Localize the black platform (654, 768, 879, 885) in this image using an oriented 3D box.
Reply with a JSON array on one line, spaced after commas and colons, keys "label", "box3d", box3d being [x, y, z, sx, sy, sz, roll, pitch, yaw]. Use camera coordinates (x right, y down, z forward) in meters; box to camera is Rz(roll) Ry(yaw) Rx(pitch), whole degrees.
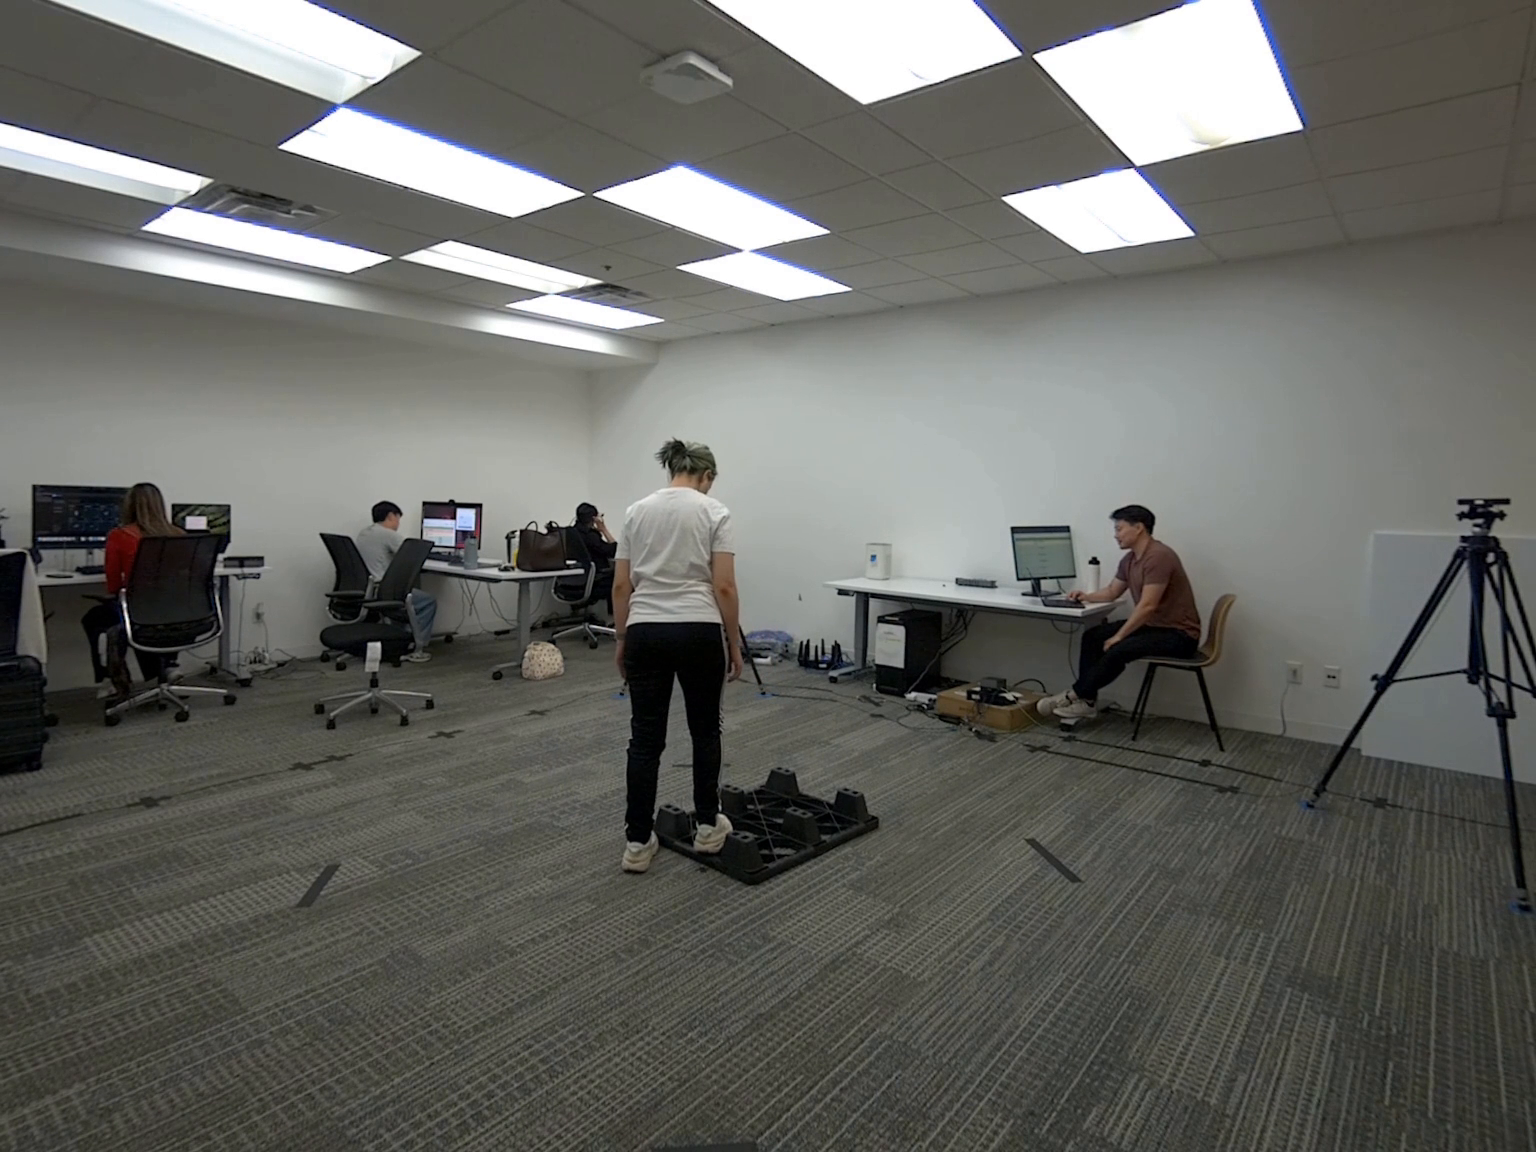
[{"label": "black platform", "box3d": [-0.024, 0.975, 3.457, 0.626, 0.143, 0.782, 5, 7, 42]}]
